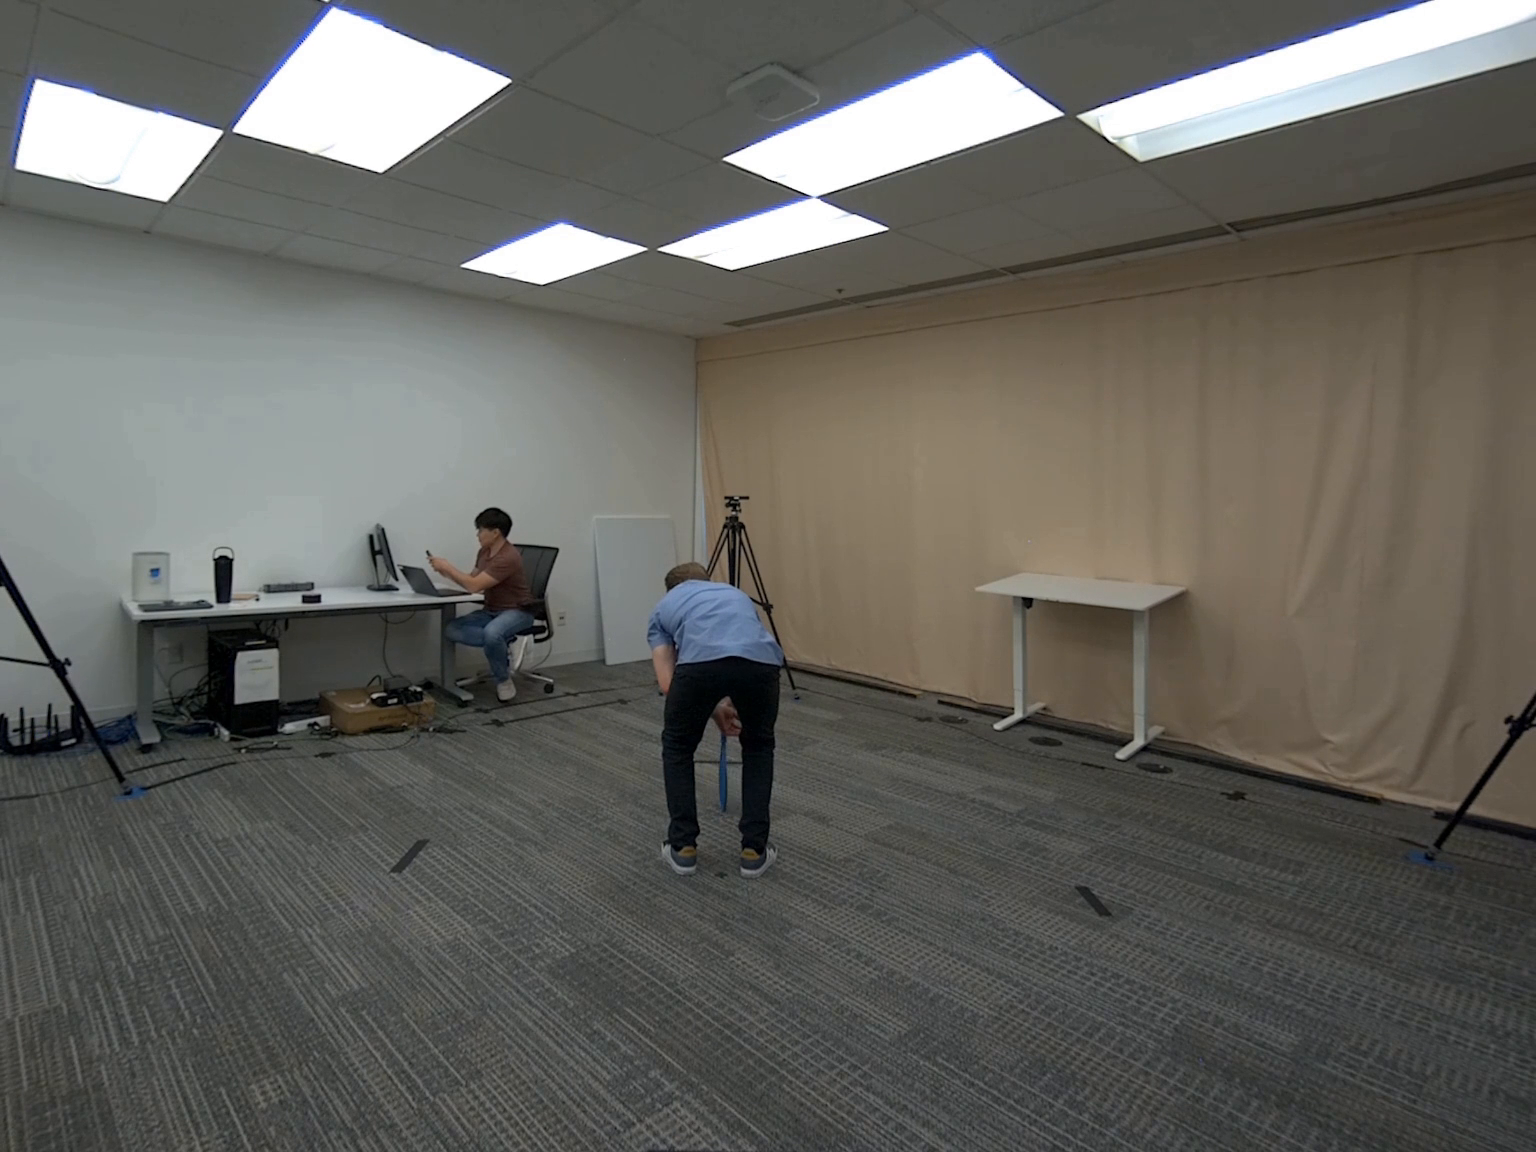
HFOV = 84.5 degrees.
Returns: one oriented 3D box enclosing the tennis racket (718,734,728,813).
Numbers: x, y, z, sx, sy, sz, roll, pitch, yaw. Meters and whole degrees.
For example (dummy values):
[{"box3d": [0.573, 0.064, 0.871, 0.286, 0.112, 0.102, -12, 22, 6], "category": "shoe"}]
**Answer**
[{"box3d": [-0.207, 0.833, 3.739, 0.031, 0.431, 0.215, 1, 6, -7], "category": "tennis racket"}]
